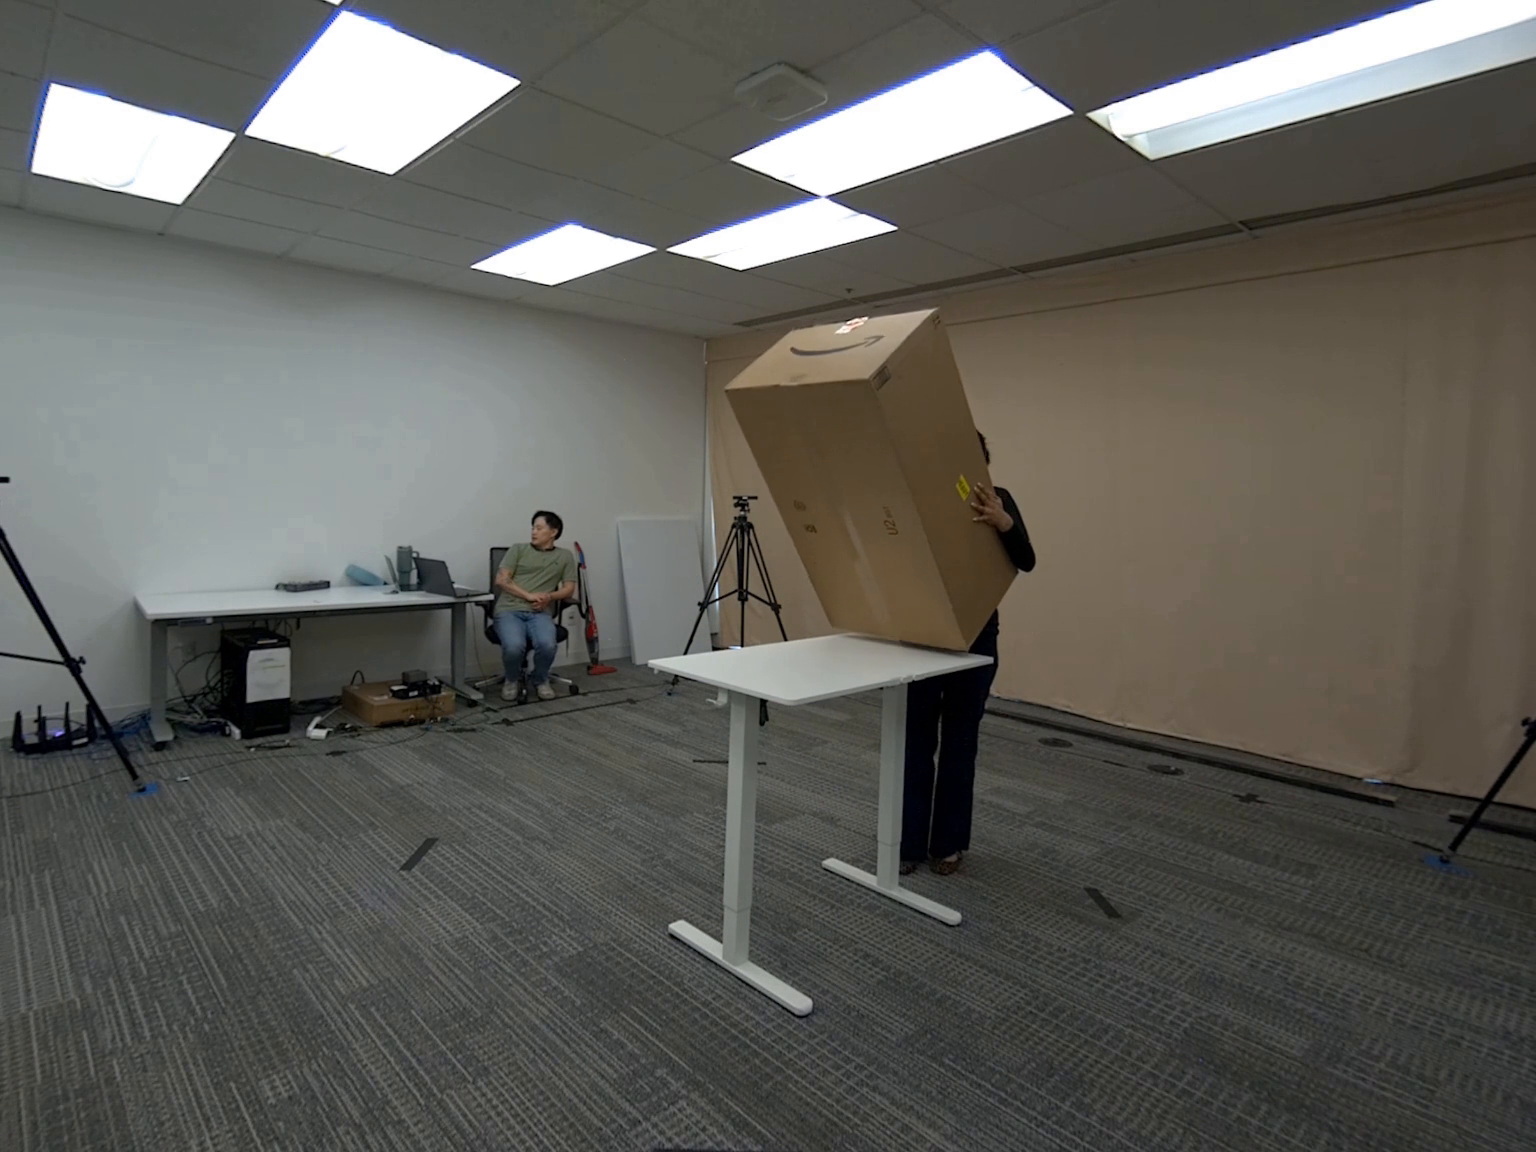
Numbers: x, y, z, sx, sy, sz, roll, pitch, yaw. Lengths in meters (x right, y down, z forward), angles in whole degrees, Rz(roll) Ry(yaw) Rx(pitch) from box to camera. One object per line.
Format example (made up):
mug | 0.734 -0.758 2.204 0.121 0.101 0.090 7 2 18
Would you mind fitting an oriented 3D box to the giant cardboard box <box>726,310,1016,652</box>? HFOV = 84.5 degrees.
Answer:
giant cardboard box | 0.362 -0.300 2.835 0.593 1.000 0.426 7 43 45
